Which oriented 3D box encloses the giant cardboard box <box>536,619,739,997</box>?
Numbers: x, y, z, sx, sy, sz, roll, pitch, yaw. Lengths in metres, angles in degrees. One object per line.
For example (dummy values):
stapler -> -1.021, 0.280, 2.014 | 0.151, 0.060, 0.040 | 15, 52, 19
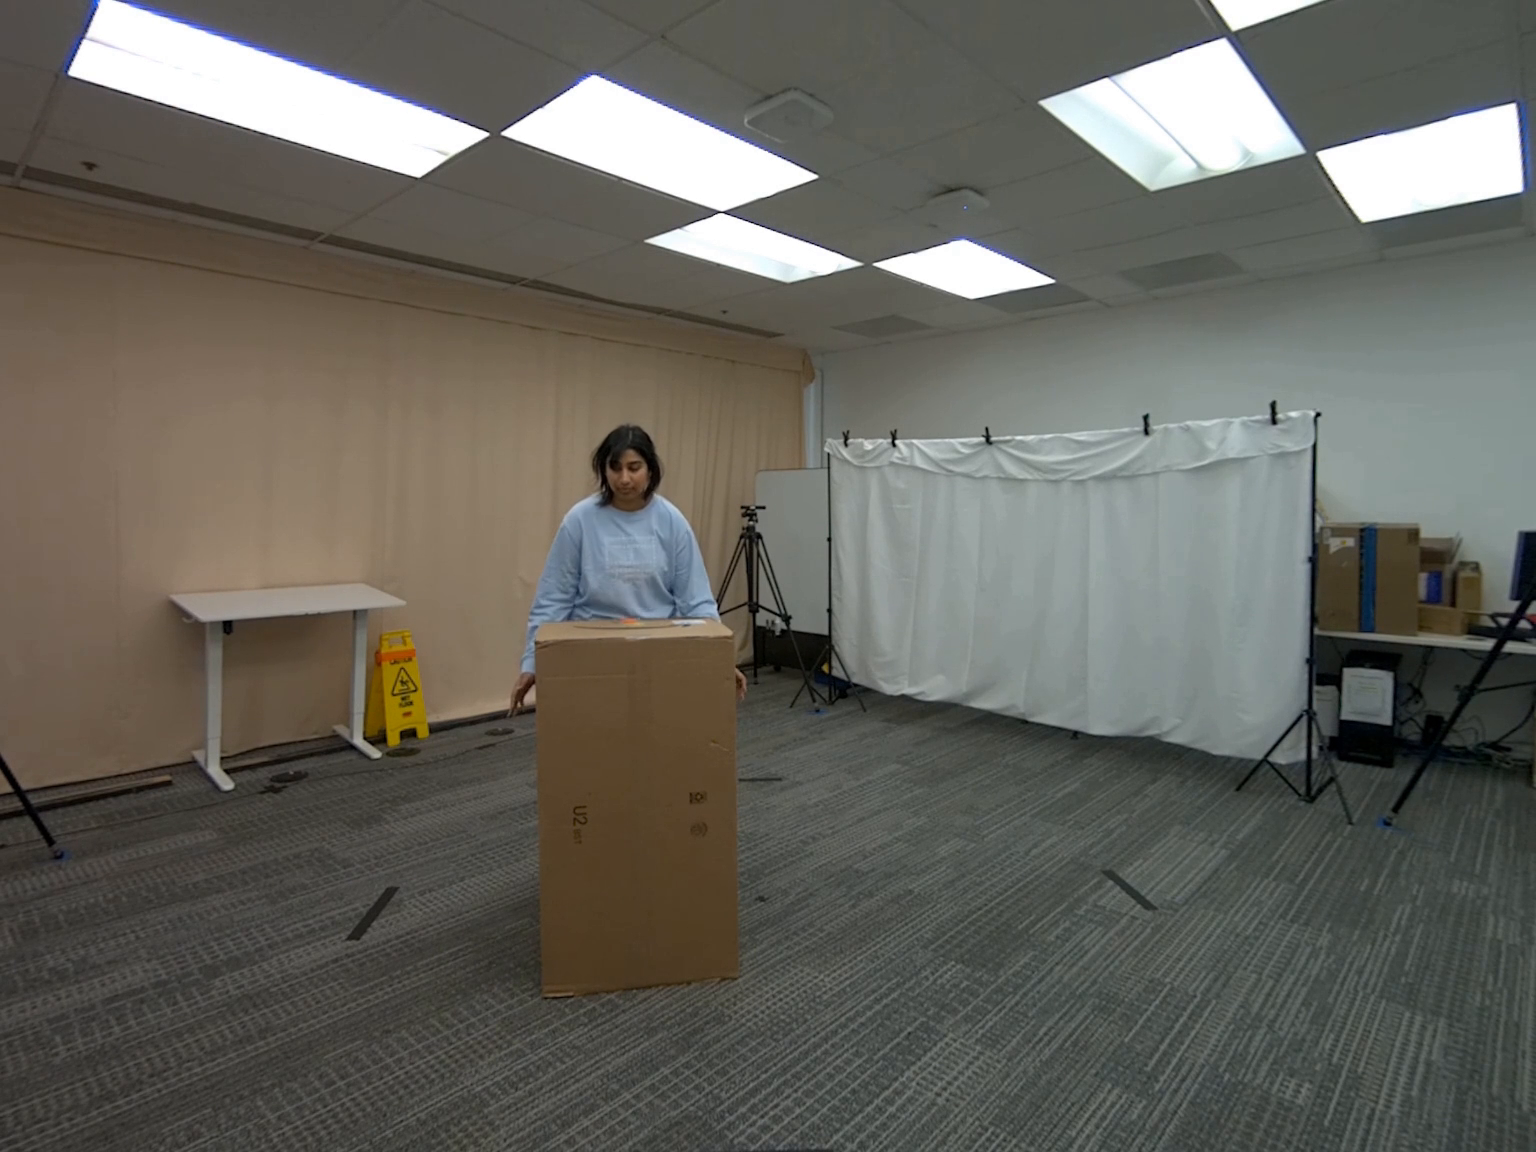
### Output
giant cardboard box -> -0.411, 0.670, 2.613 | 0.578, 1.025, 0.452 | -1, 3, -10
